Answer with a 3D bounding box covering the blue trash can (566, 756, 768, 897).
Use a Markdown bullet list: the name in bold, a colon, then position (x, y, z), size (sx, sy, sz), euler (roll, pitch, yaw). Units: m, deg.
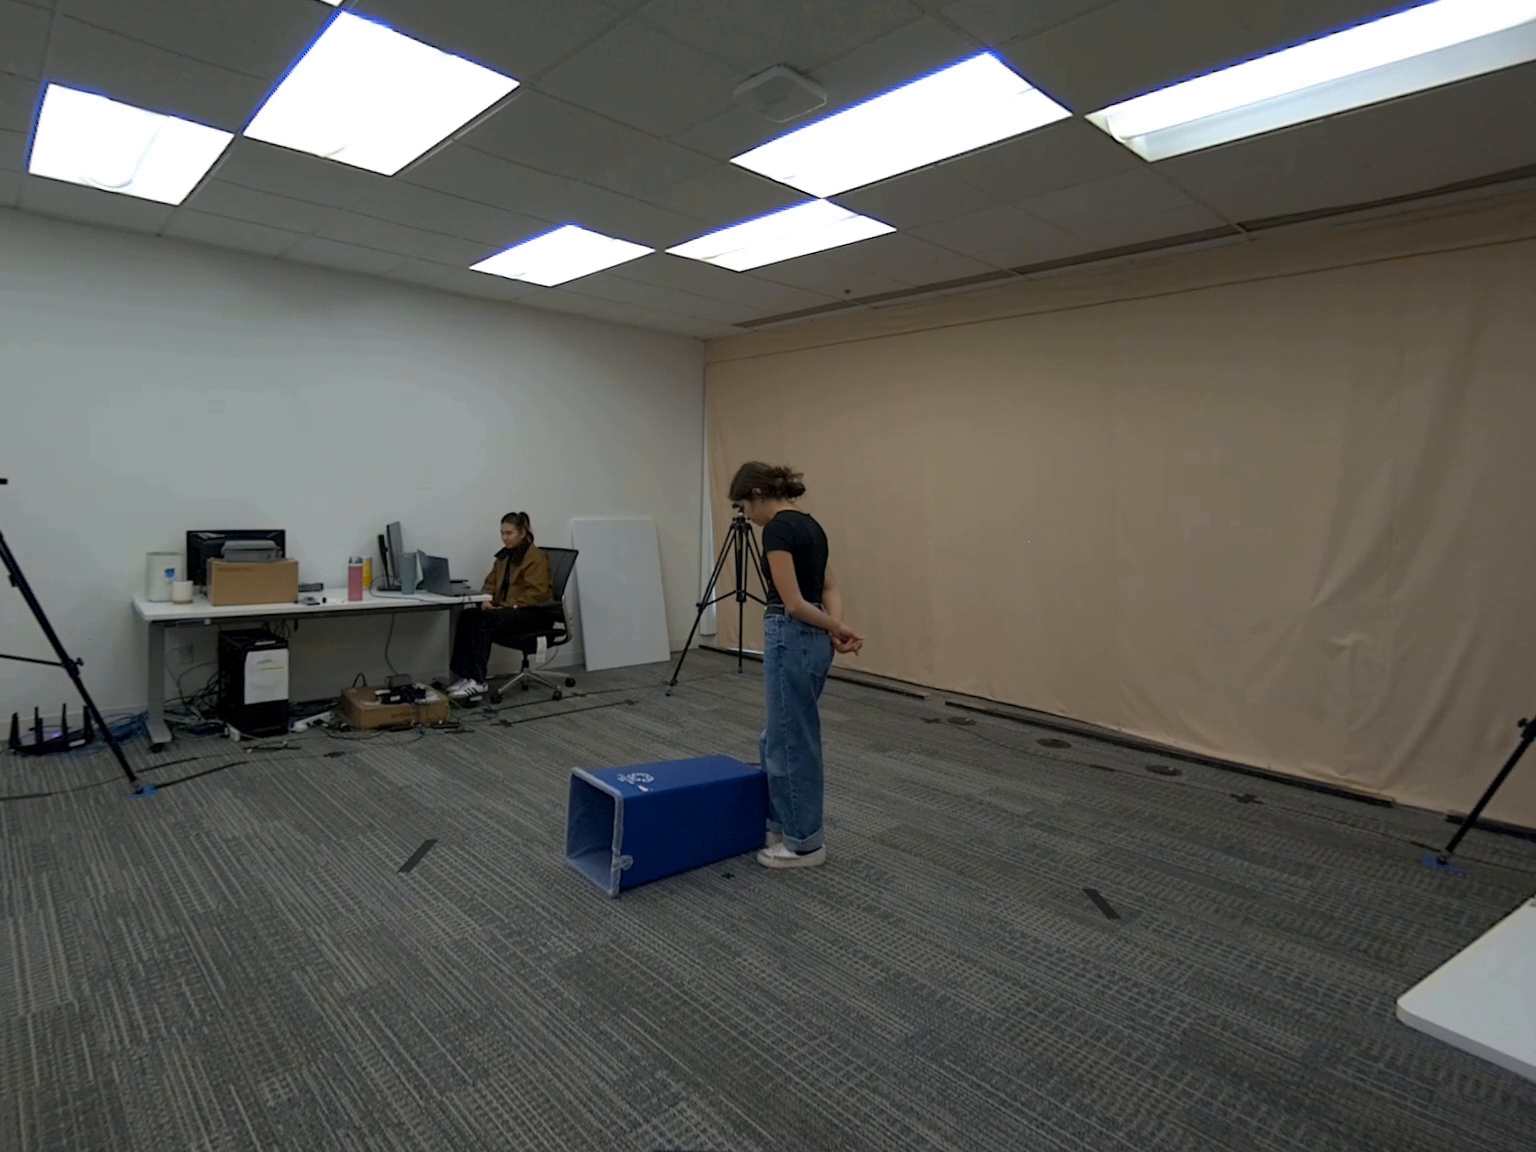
- **blue trash can**: position (-0.386, 0.924, 3.249), size (0.696, 0.377, 0.383), euler (1, 3, -40)
